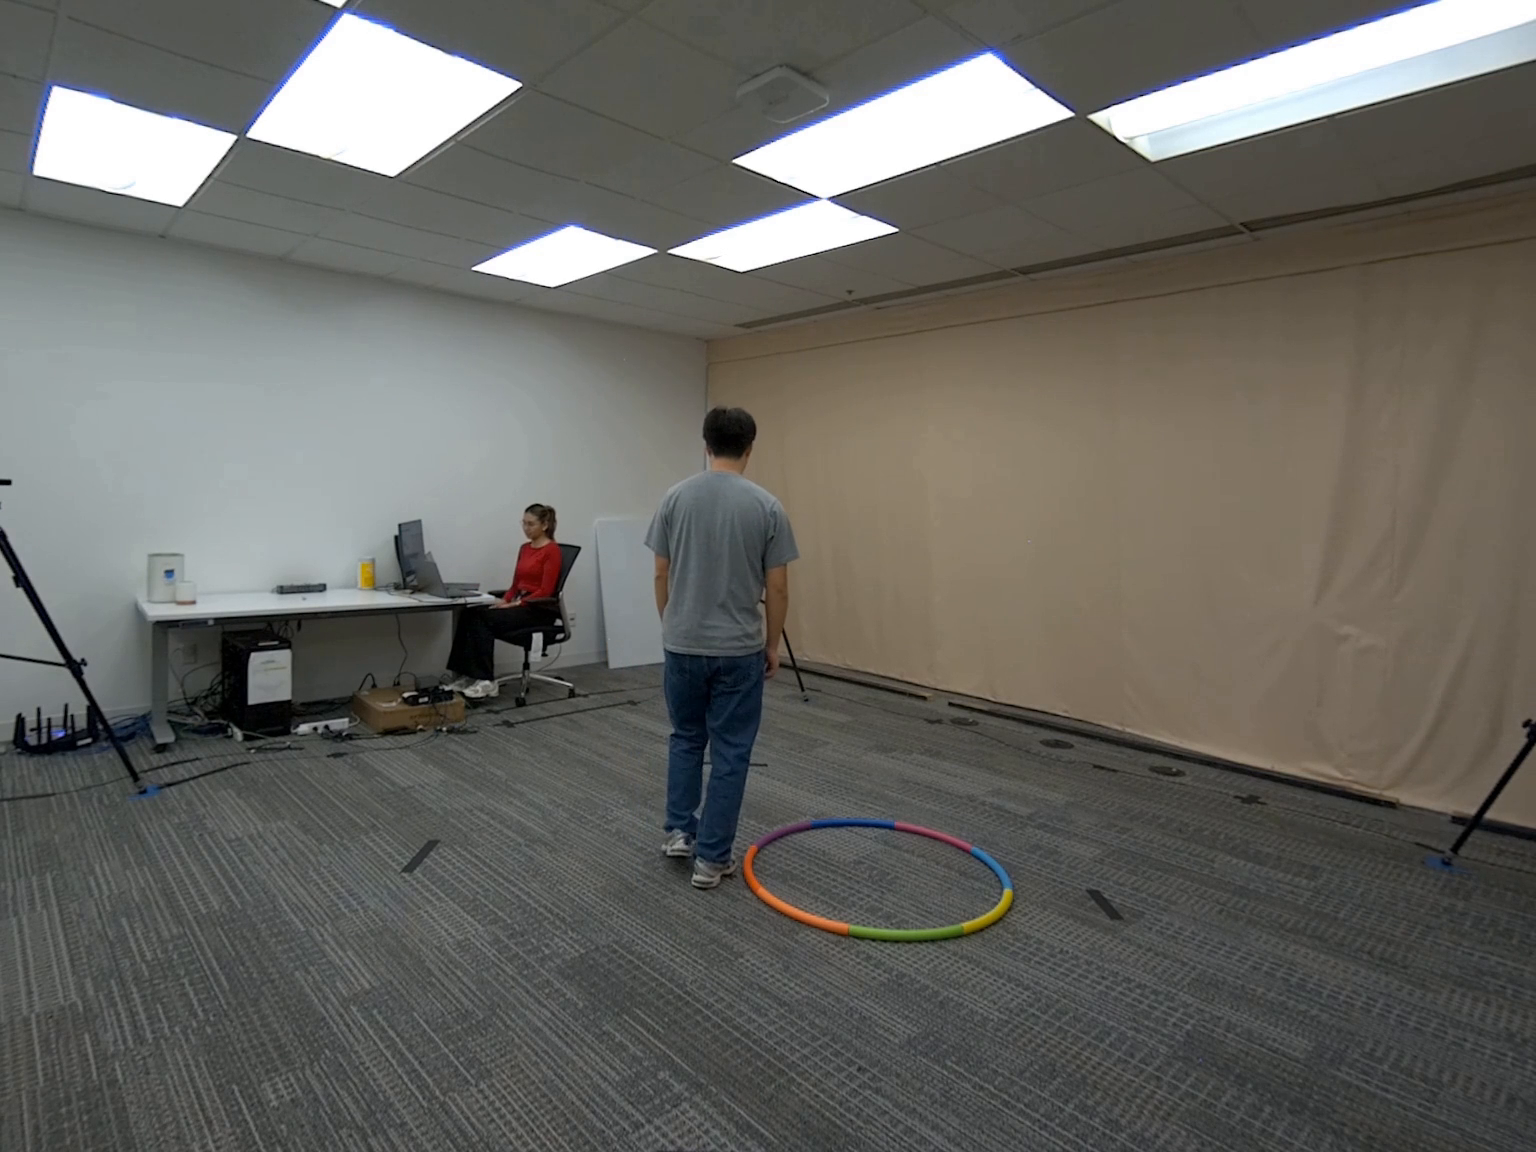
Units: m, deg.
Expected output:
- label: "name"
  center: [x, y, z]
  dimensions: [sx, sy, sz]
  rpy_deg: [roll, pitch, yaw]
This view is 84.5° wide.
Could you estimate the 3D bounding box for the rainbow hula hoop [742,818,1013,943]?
- label: "rainbow hula hoop"
  center: [0.378, 1.081, 3.153]
  dimensions: [0.978, 0.035, 0.982]
  rpy_deg: [1, 5, -1]
